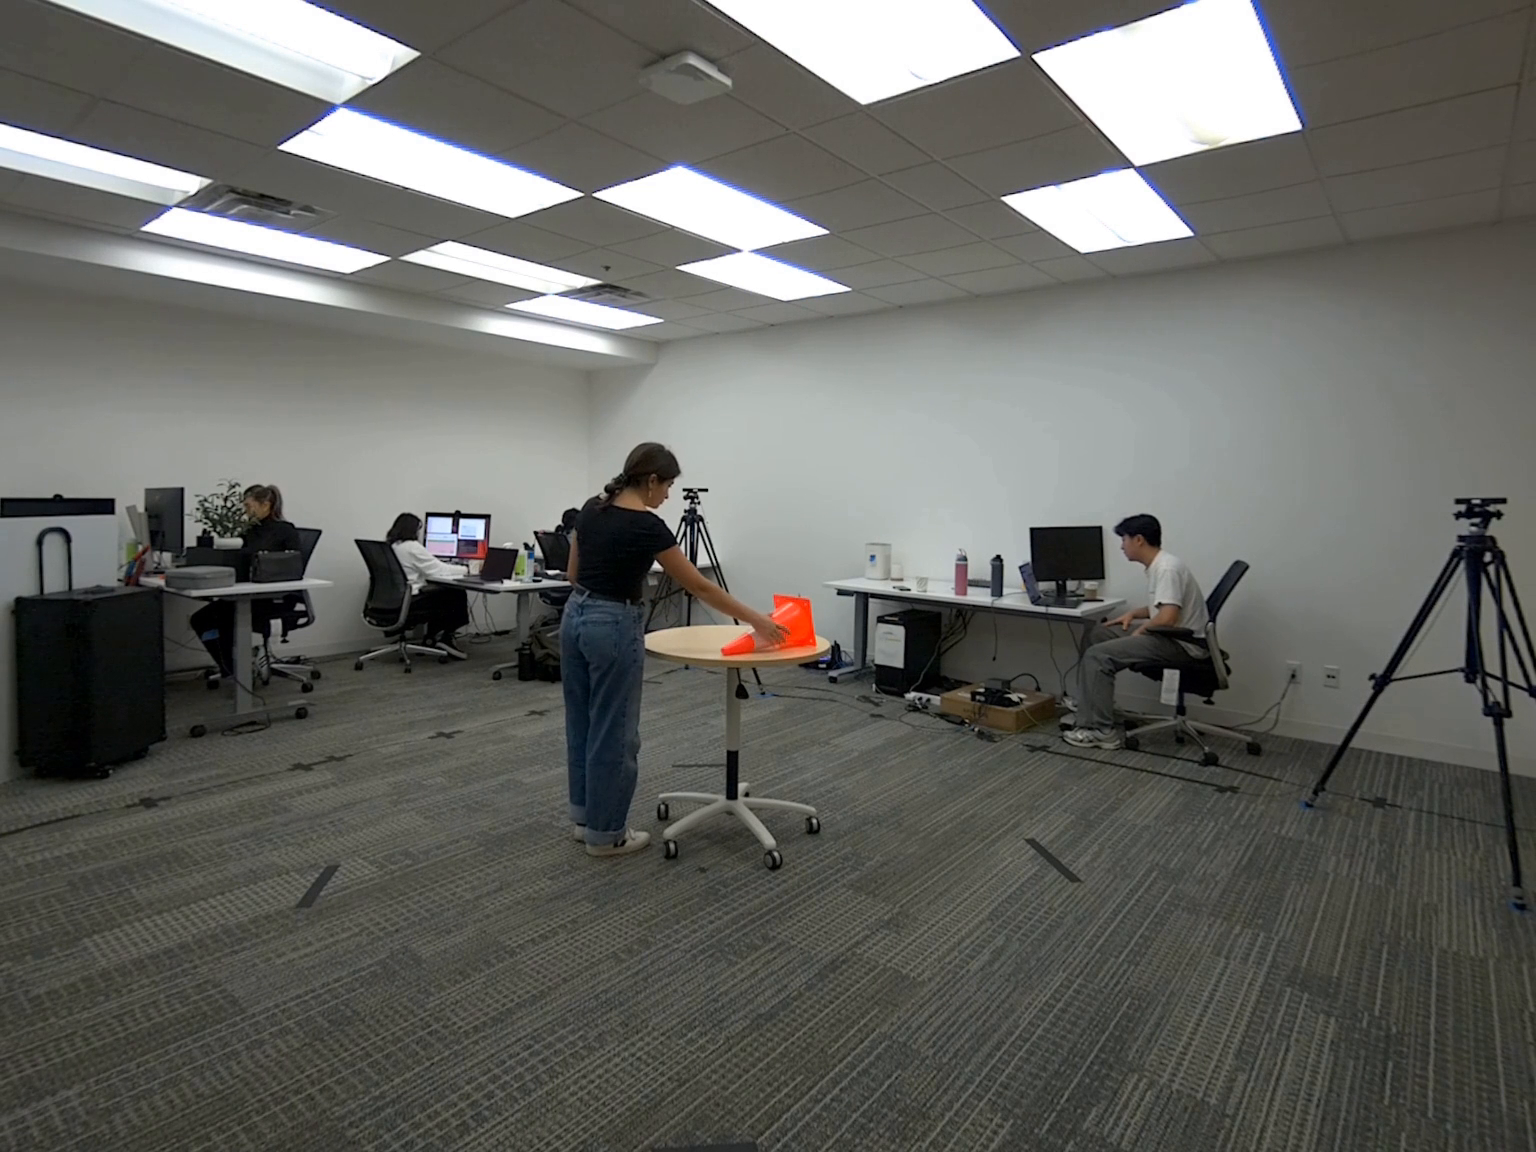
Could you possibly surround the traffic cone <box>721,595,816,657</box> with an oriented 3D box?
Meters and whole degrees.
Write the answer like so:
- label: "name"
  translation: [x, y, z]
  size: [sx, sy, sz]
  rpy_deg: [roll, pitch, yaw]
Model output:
- label: "traffic cone"
  translation: [-0.026, 0.222, 3.236]
  size: [0.376, 0.200, 0.212]
  rpy_deg: [-20, 17, -38]
